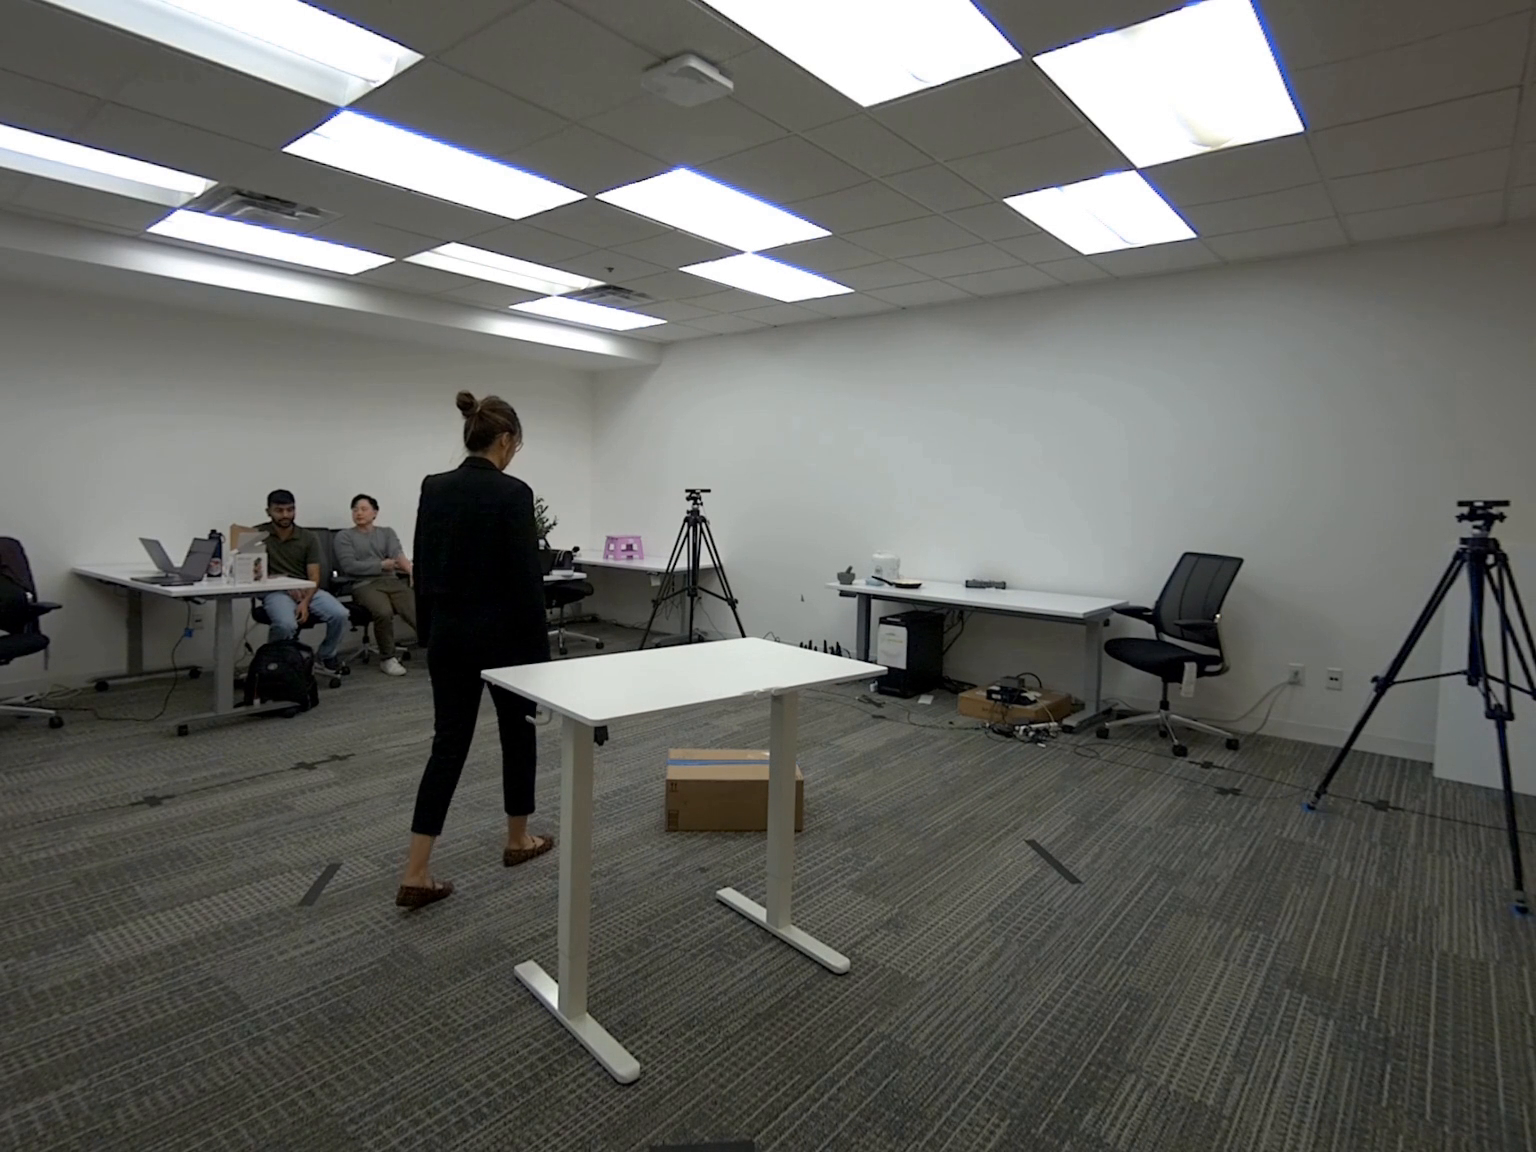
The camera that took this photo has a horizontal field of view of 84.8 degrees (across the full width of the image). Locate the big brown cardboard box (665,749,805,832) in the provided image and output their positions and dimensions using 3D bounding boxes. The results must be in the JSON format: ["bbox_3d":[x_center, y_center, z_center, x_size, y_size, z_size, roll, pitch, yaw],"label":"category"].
[{"bbox_3d":[-0.162,0.909,3.669,0.587,0.232,0.421,0,5,-4],"label":"big brown cardboard box"}]
